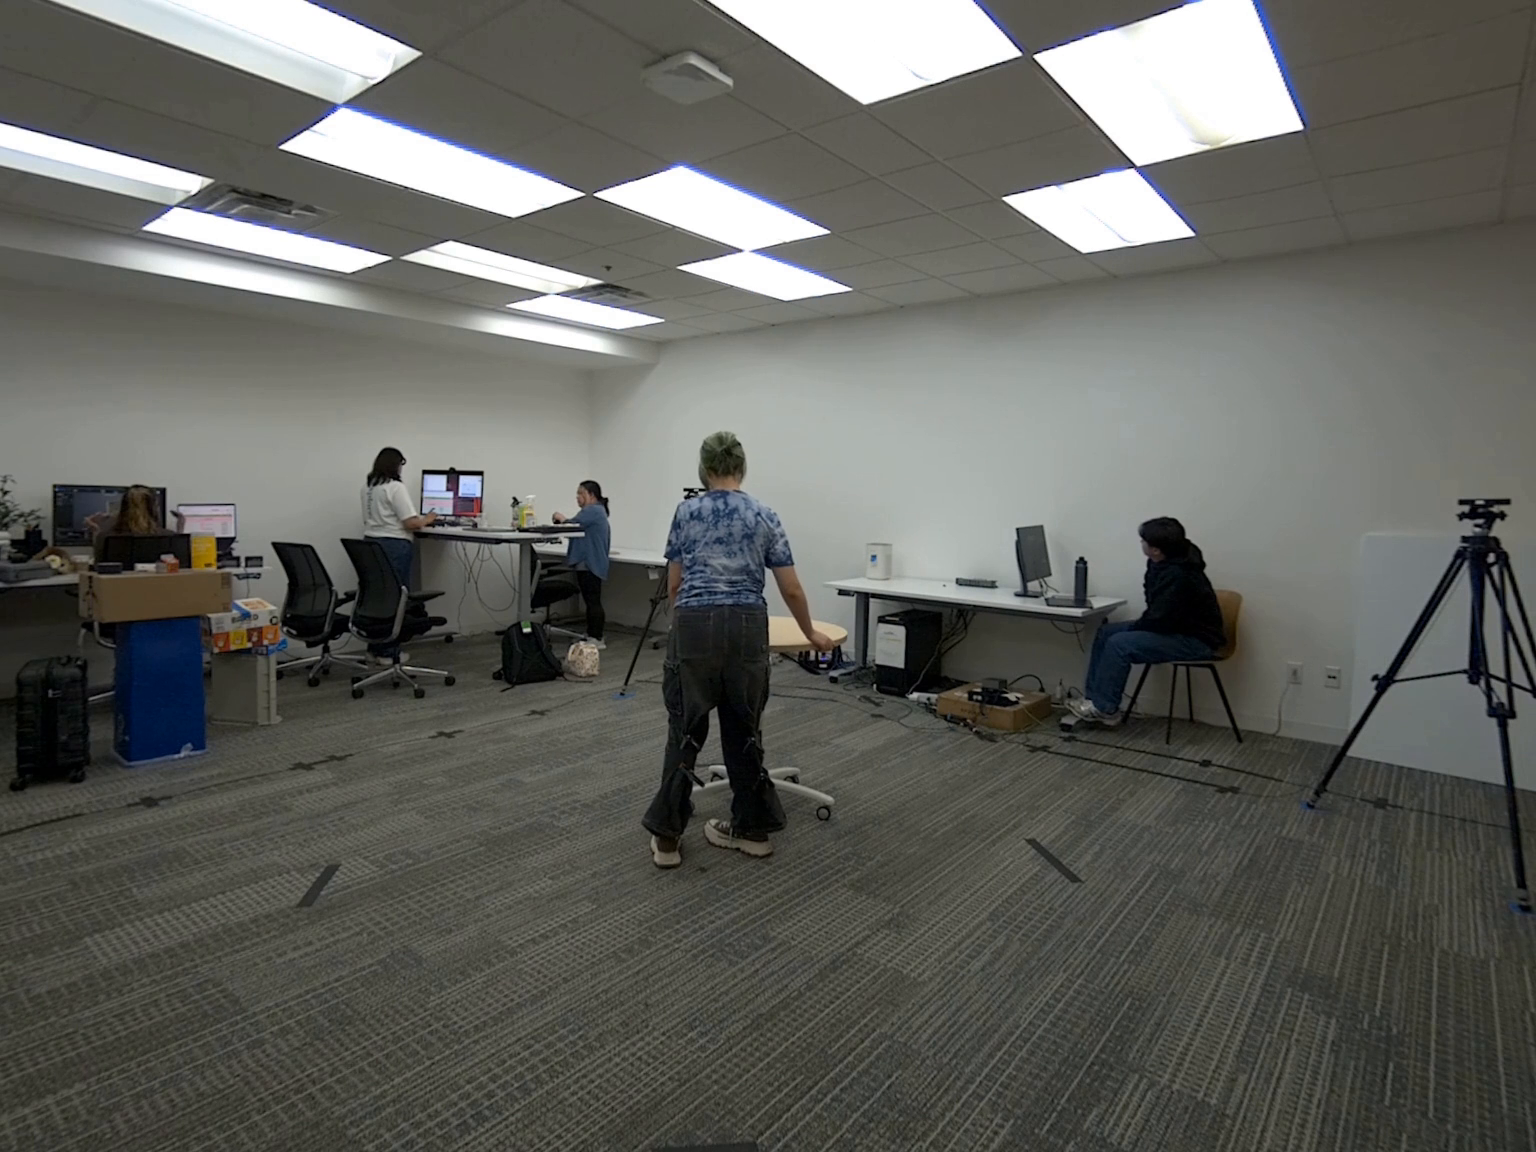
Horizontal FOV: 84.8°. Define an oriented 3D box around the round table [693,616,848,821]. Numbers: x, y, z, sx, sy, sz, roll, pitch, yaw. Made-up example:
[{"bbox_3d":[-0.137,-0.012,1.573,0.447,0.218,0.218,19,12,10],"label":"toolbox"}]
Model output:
[{"bbox_3d":[-0.051,0.622,3.712,0.763,0.791,0.768,2,4,-2],"label":"round table"}]
